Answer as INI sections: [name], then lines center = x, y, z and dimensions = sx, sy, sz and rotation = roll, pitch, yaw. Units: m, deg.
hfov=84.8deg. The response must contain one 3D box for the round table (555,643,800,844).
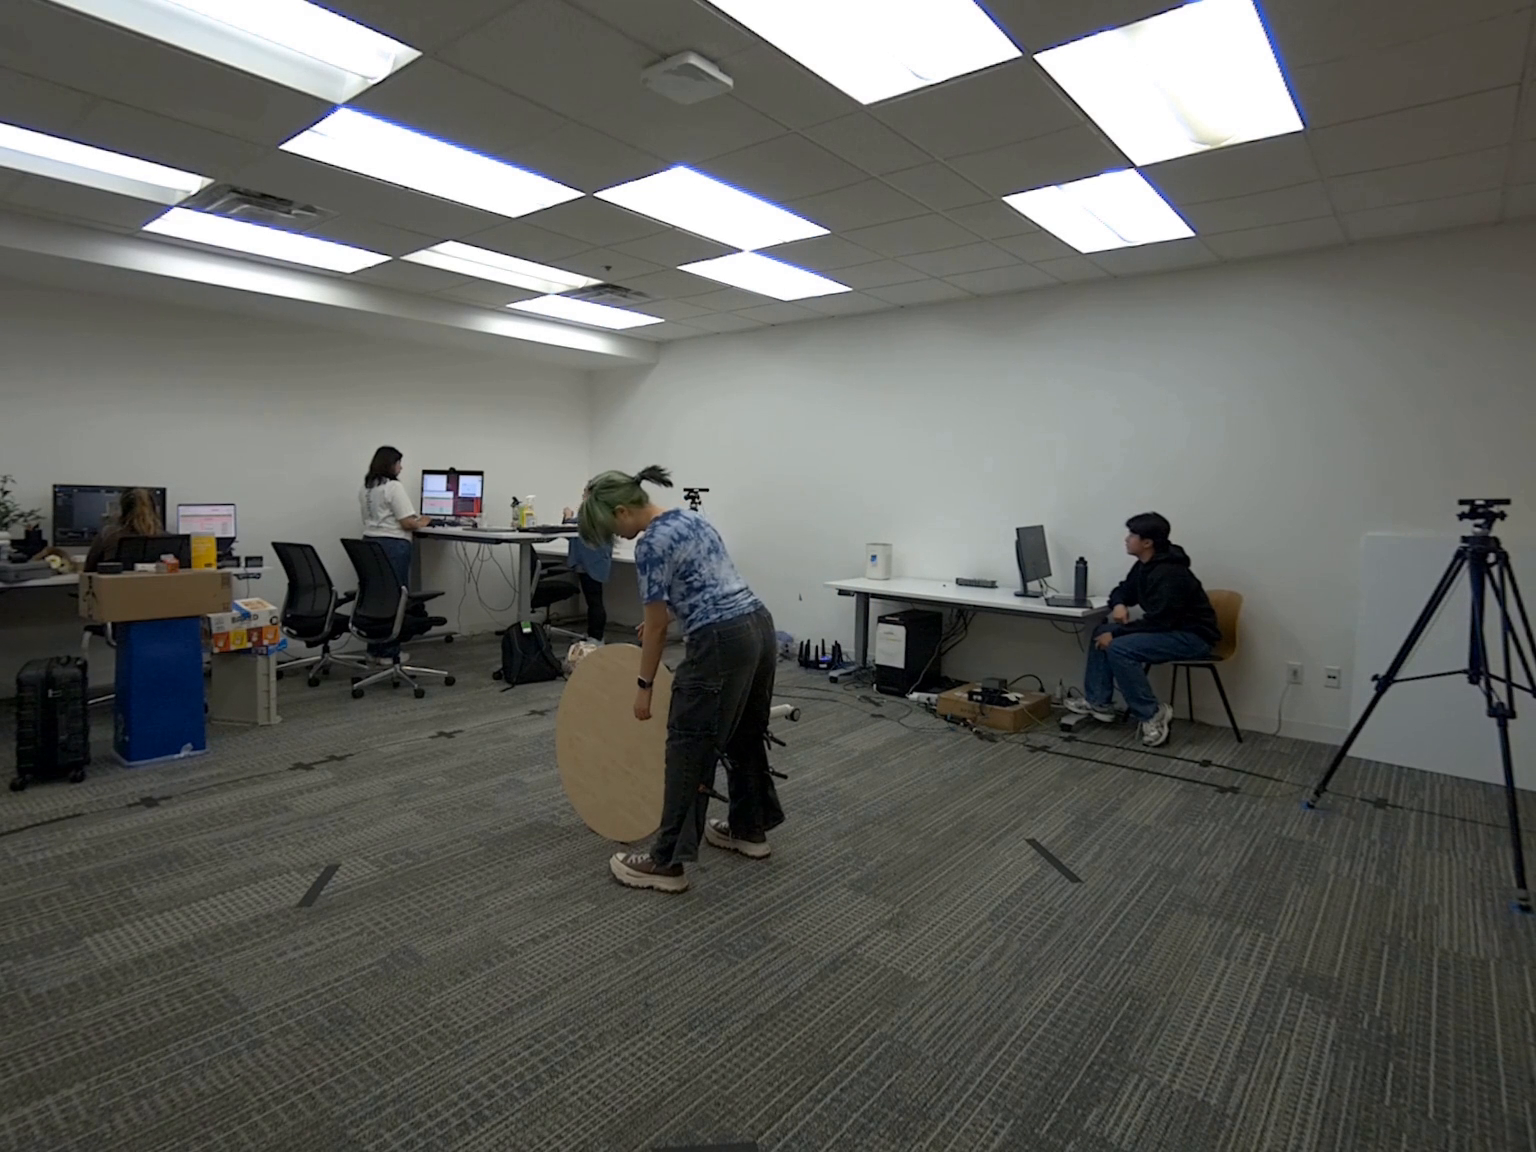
[round table]
center = -0.380, 0.669, 3.683
dimensions = 0.789, 0.765, 0.767
rotation = 4, -1, 39
